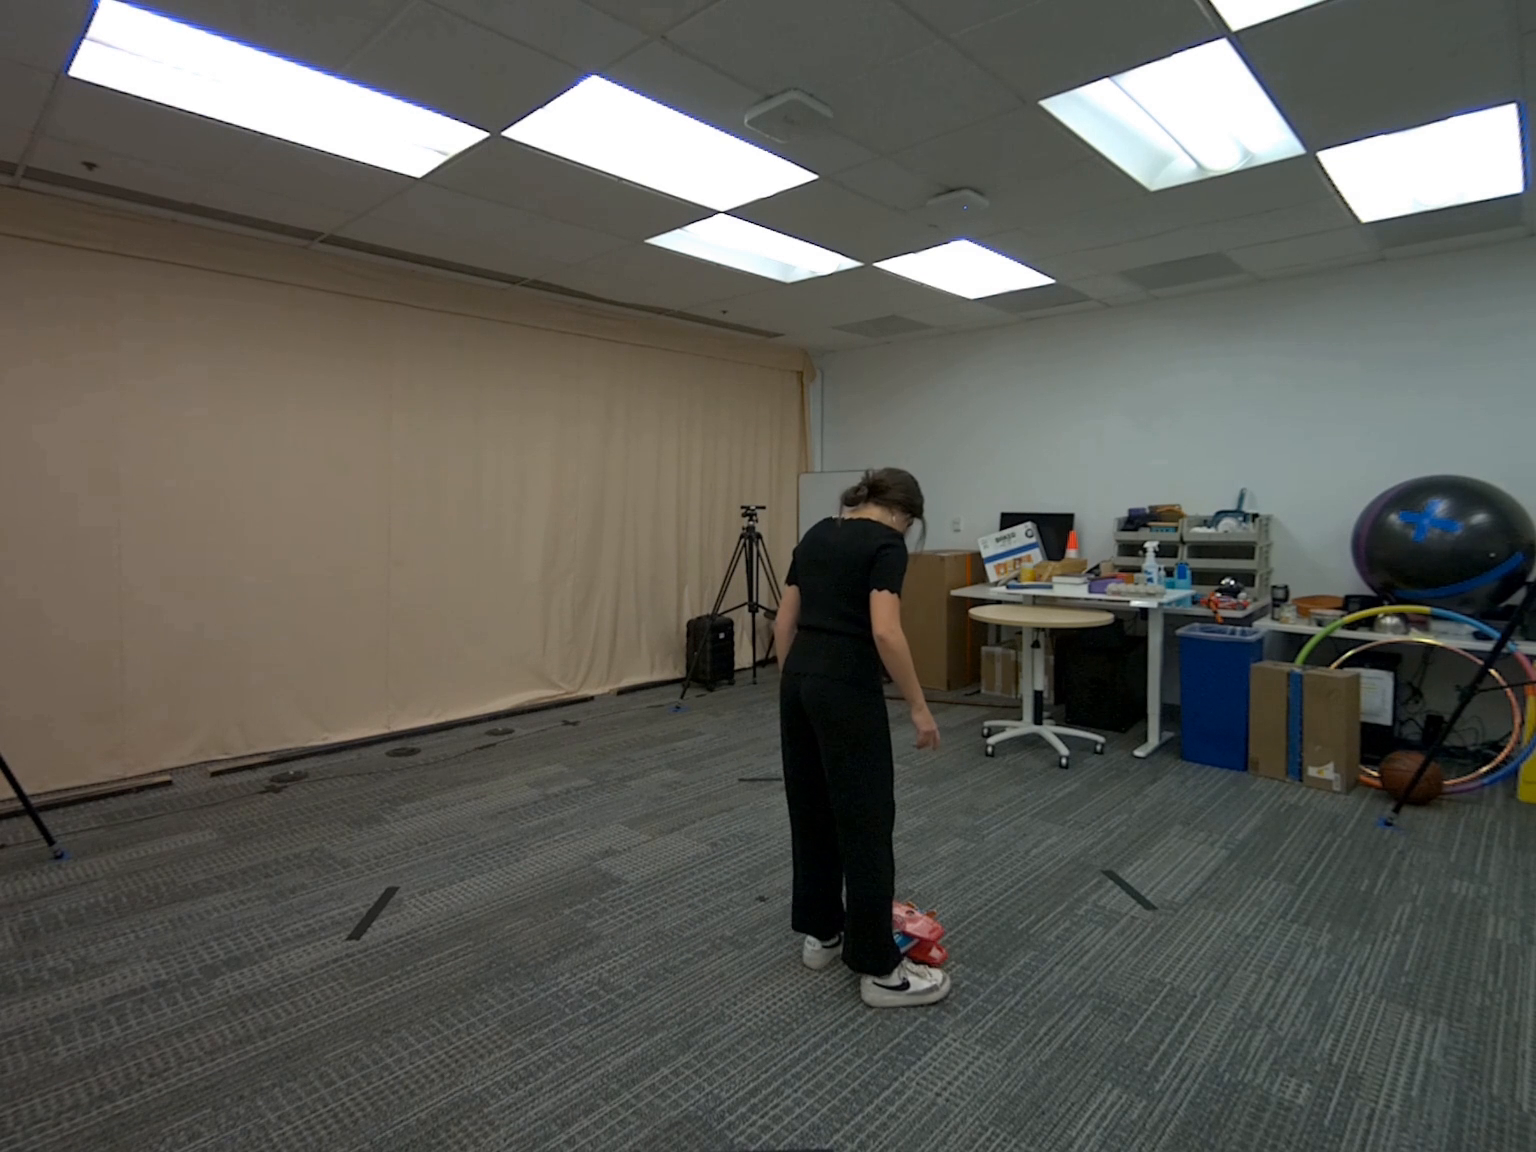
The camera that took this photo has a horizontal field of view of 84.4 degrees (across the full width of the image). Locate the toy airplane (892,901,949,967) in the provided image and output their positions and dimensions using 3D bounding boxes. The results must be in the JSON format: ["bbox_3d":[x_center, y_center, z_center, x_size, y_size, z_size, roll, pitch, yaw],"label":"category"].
[{"bbox_3d":[0.411,1.106,2.520,0.257,0.156,0.253,1,3,22],"label":"toy airplane"}]
